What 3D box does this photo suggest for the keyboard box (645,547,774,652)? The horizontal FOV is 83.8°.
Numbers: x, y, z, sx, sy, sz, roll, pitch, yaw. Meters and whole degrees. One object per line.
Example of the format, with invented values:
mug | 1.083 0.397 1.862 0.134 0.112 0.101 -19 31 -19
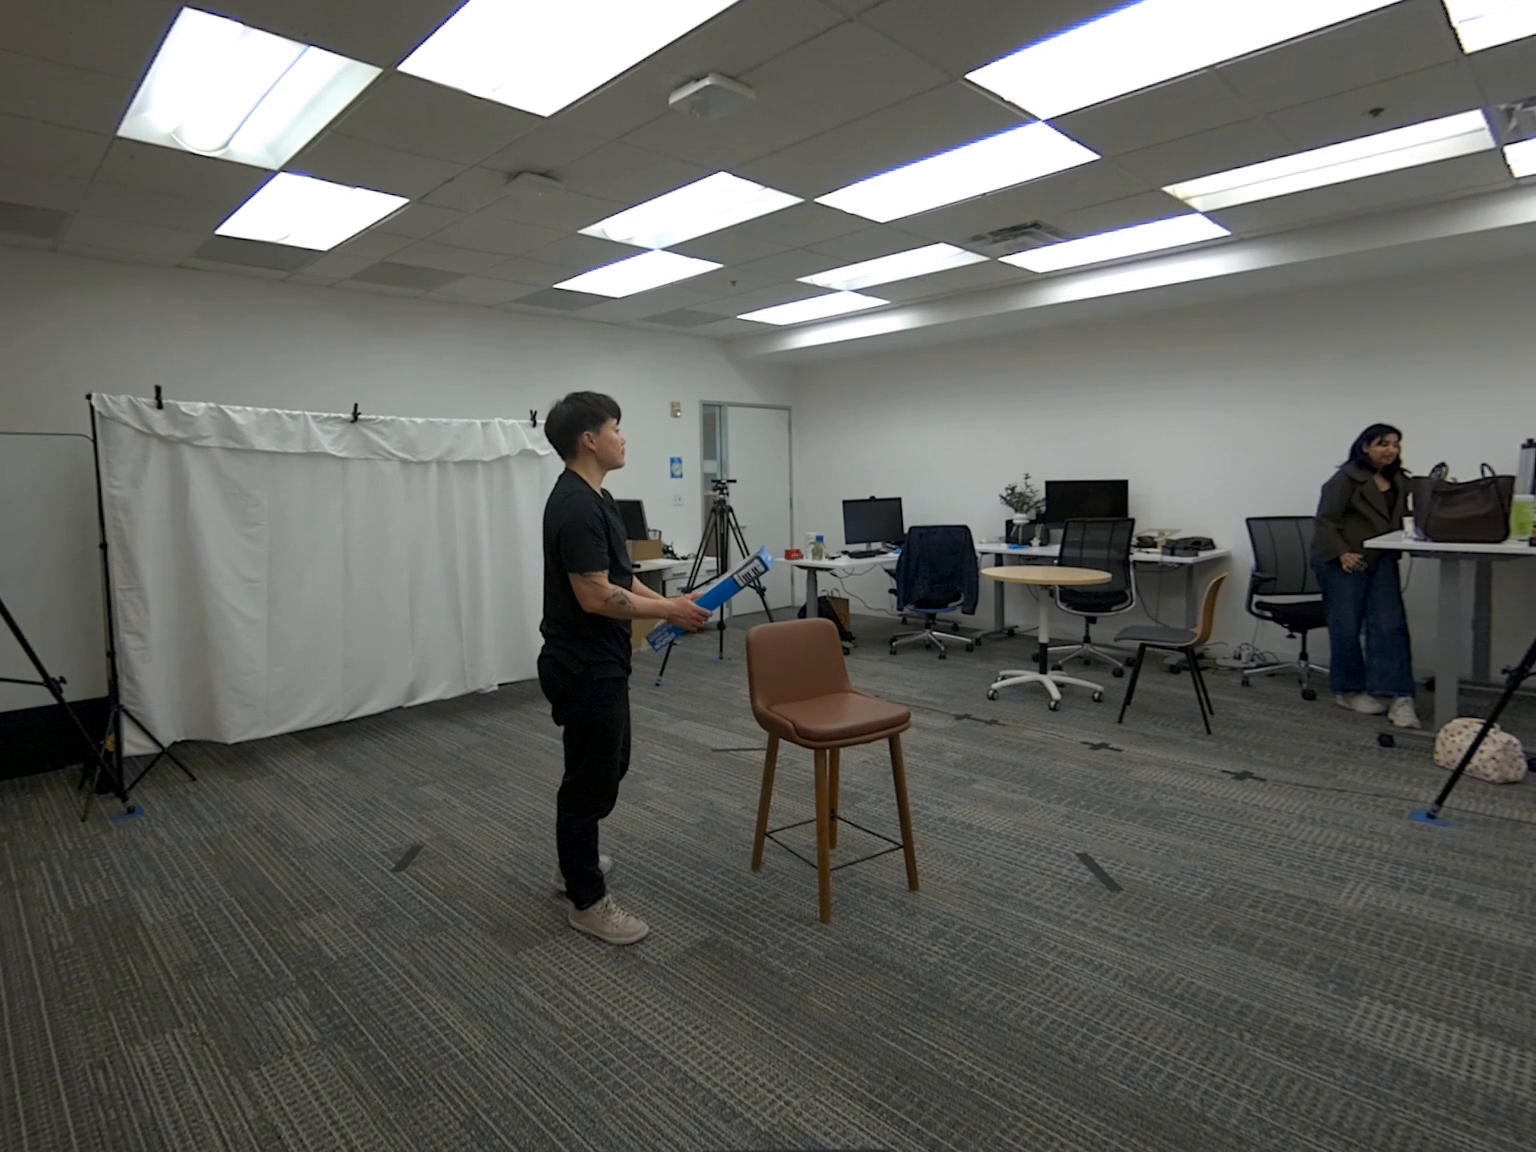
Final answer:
keyboard box | -0.180 0.072 2.645 0.438 0.059 0.176 -36 6 11
